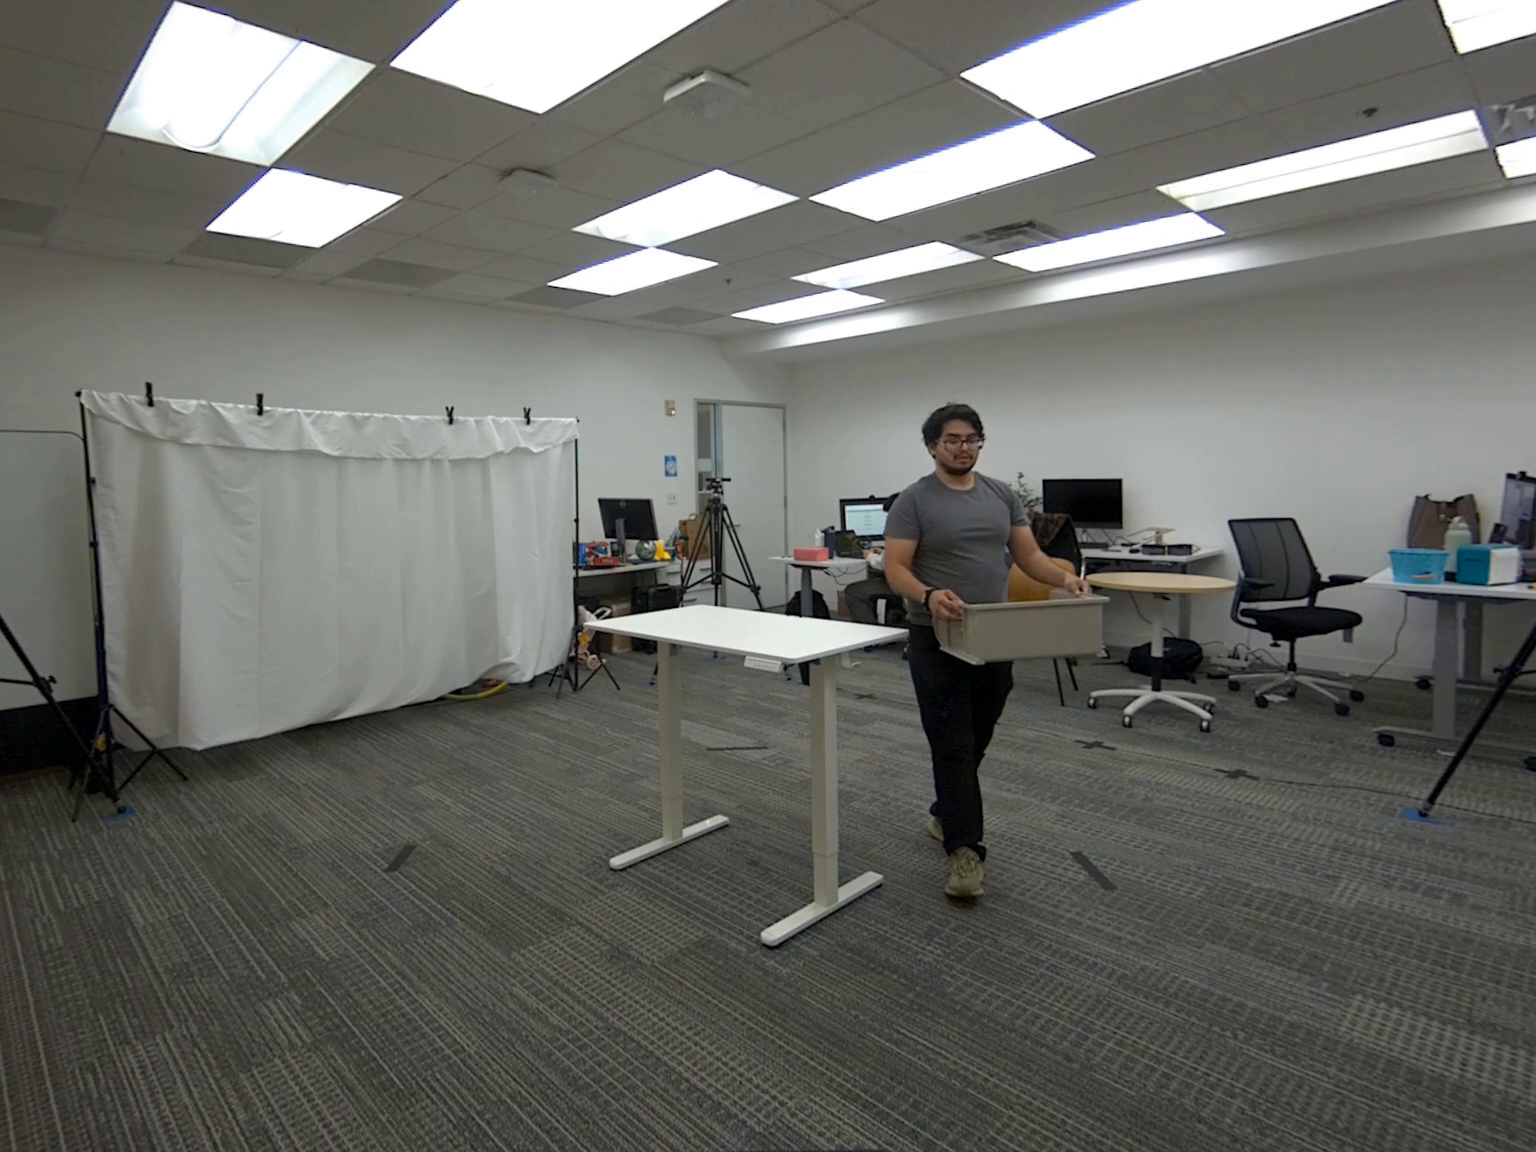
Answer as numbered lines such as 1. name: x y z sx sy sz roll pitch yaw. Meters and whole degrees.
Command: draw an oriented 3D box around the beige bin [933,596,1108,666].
1. beige bin: 0.794 0.153 2.728 0.420 0.188 0.381 -3 6 -5
